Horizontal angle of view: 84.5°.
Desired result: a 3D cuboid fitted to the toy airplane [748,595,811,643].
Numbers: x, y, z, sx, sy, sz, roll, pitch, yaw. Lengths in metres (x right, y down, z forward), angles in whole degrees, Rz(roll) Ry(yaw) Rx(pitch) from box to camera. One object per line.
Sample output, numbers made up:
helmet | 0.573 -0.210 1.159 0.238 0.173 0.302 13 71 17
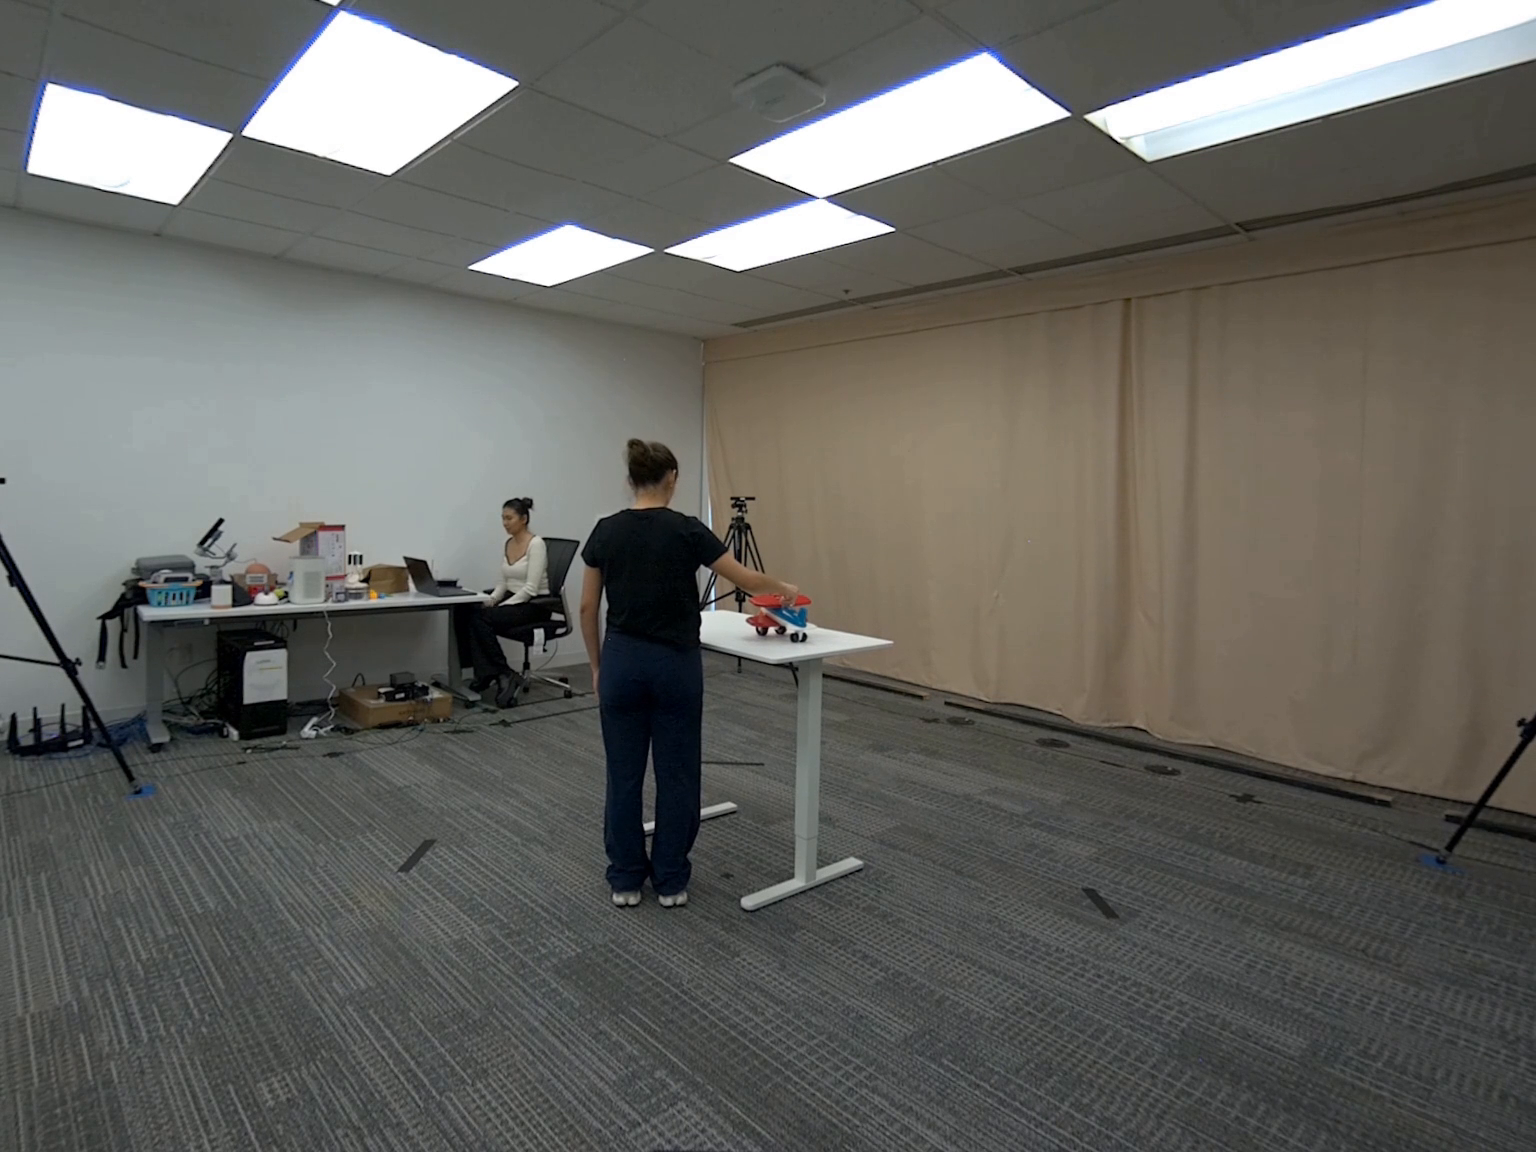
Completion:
toy airplane | 0.071 0.154 3.098 0.265 0.156 0.246 3 5 29
